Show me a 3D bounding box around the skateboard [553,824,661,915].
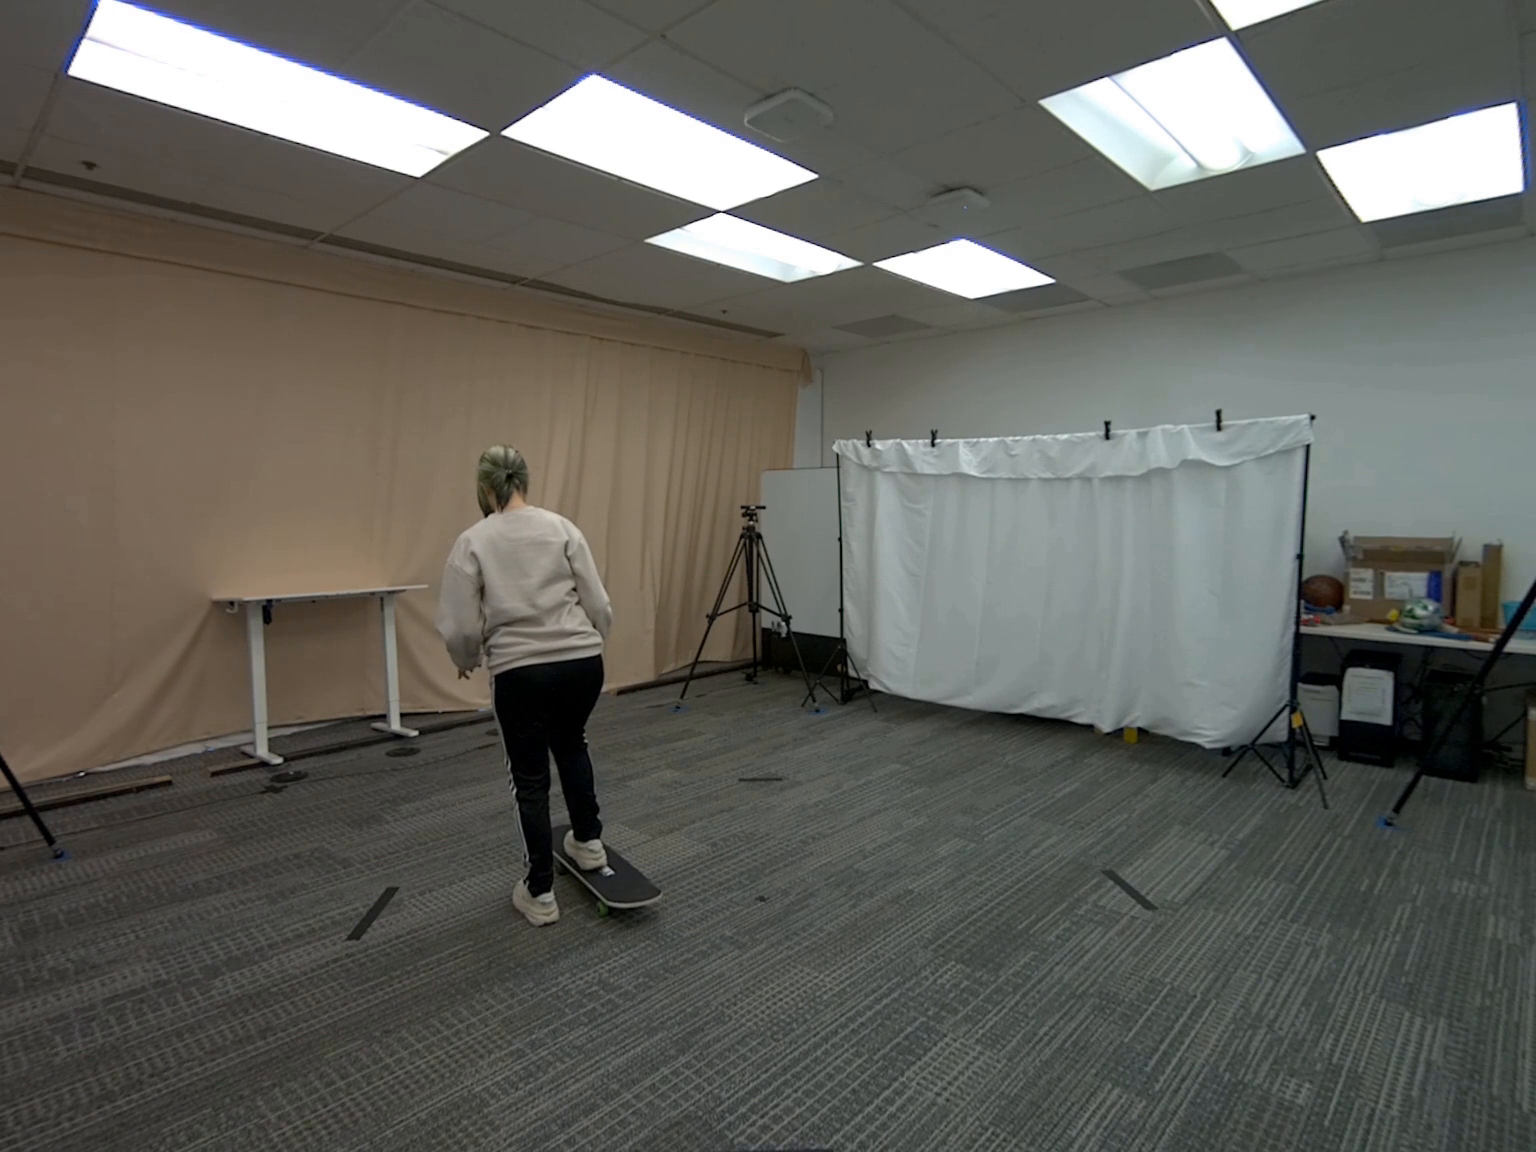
[{"bbox_3d":[-0.615,1.092,3.071,0.188,0.110,0.810,-5,6,-34],"label":"skateboard"}]
